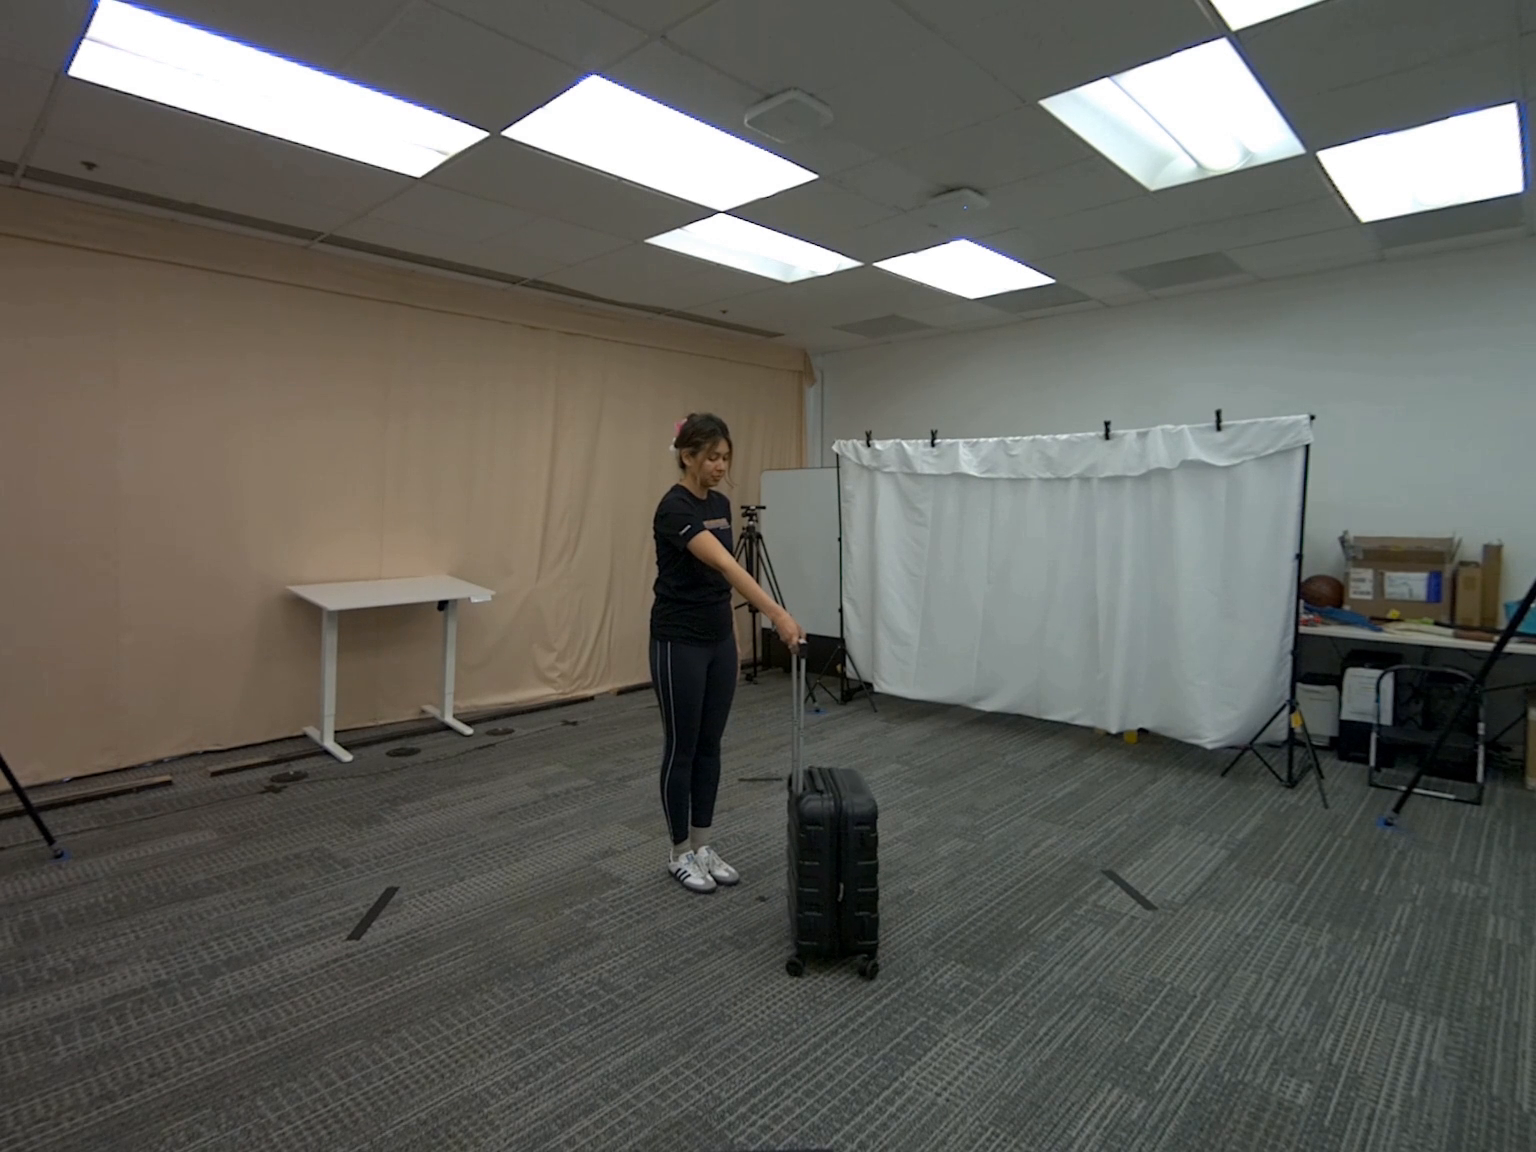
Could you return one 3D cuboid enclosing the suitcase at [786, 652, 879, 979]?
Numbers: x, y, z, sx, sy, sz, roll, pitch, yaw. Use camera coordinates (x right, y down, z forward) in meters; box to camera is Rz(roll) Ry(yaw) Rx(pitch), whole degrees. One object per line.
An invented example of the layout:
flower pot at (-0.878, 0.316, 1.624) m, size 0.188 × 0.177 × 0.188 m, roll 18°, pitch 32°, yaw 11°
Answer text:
suitcase at (0.202, 0.697, 2.623) m, size 0.257 × 0.977 × 0.385 m, roll 1°, pitch 3°, yaw -1°
